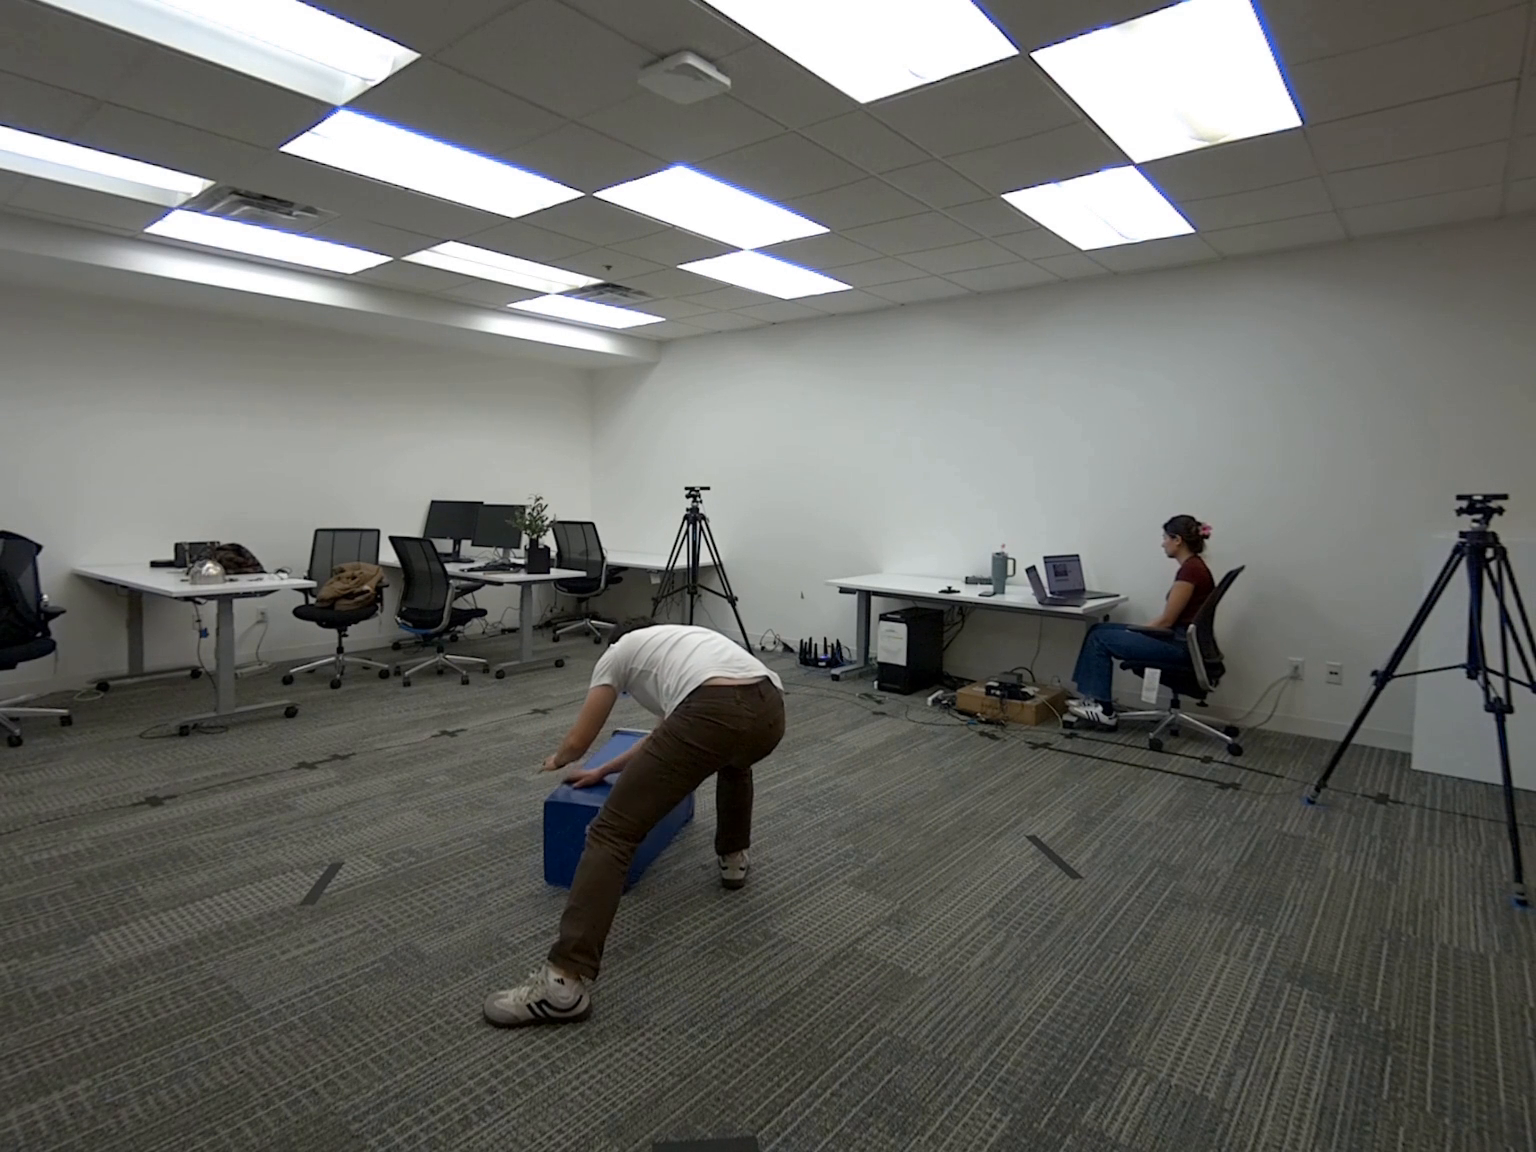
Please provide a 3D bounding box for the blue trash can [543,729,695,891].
[{"bbox_3d":[-0.558,0.875,3.248,0.380,0.375,0.707,3,8,13],"label":"blue trash can"}]
